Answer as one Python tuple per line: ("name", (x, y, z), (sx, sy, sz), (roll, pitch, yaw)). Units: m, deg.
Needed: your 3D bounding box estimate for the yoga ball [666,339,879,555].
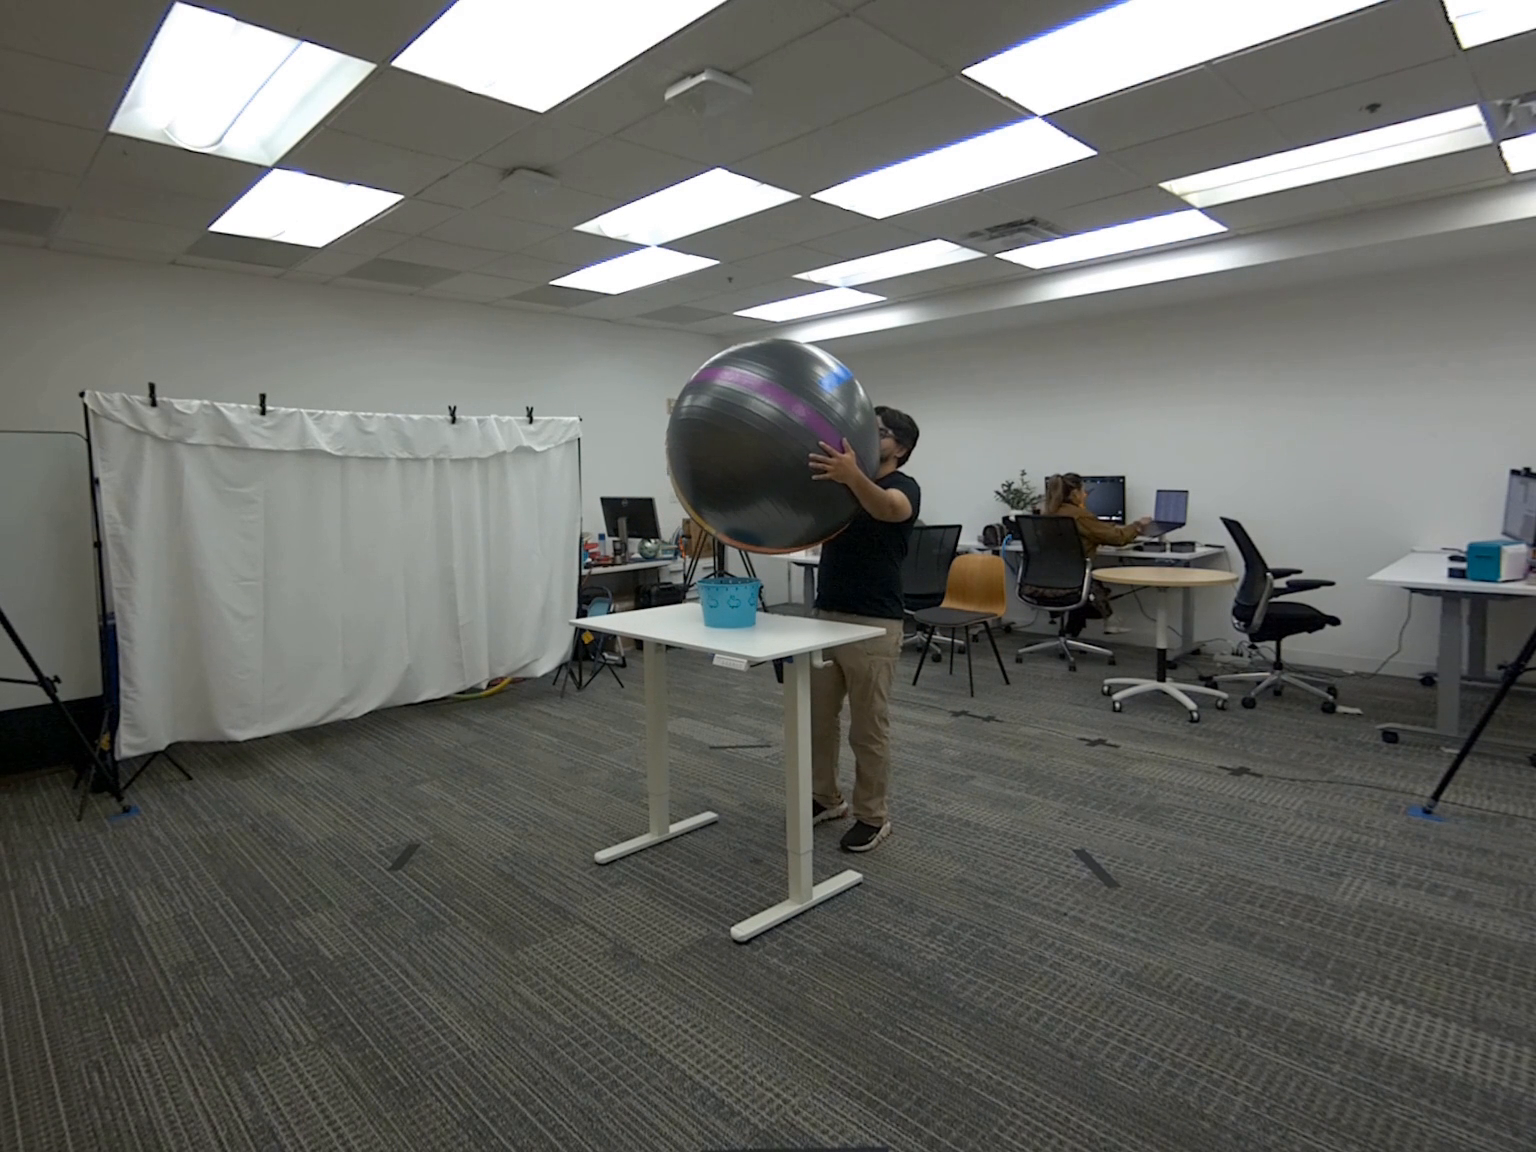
("yoga ball", (0.003, -0.453, 3.040), (0.757, 0.755, 0.762), (-1, 5, -2))
